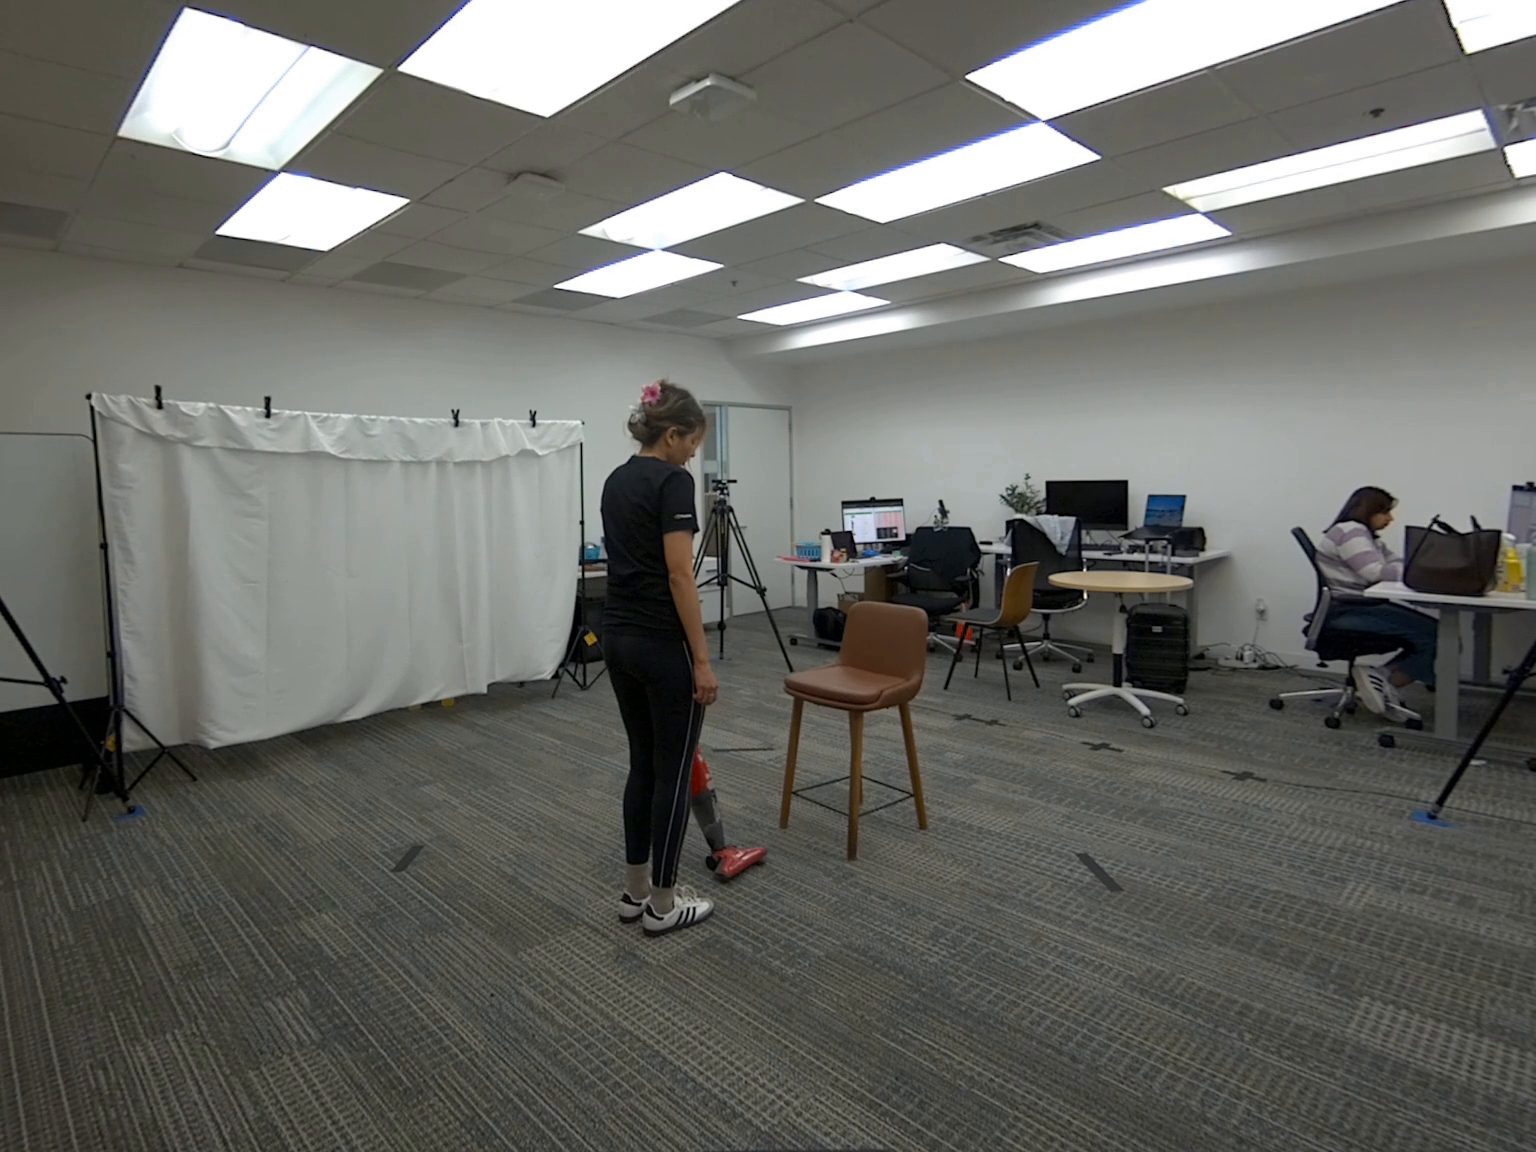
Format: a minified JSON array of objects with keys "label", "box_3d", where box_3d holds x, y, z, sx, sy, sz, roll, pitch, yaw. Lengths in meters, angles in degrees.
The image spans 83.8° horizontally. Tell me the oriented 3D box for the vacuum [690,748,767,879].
[{"label":"vacuum","box_3d":[-0.329,0.584,3.208,0.145,1.069,0.246,-38,-19,36]}]
